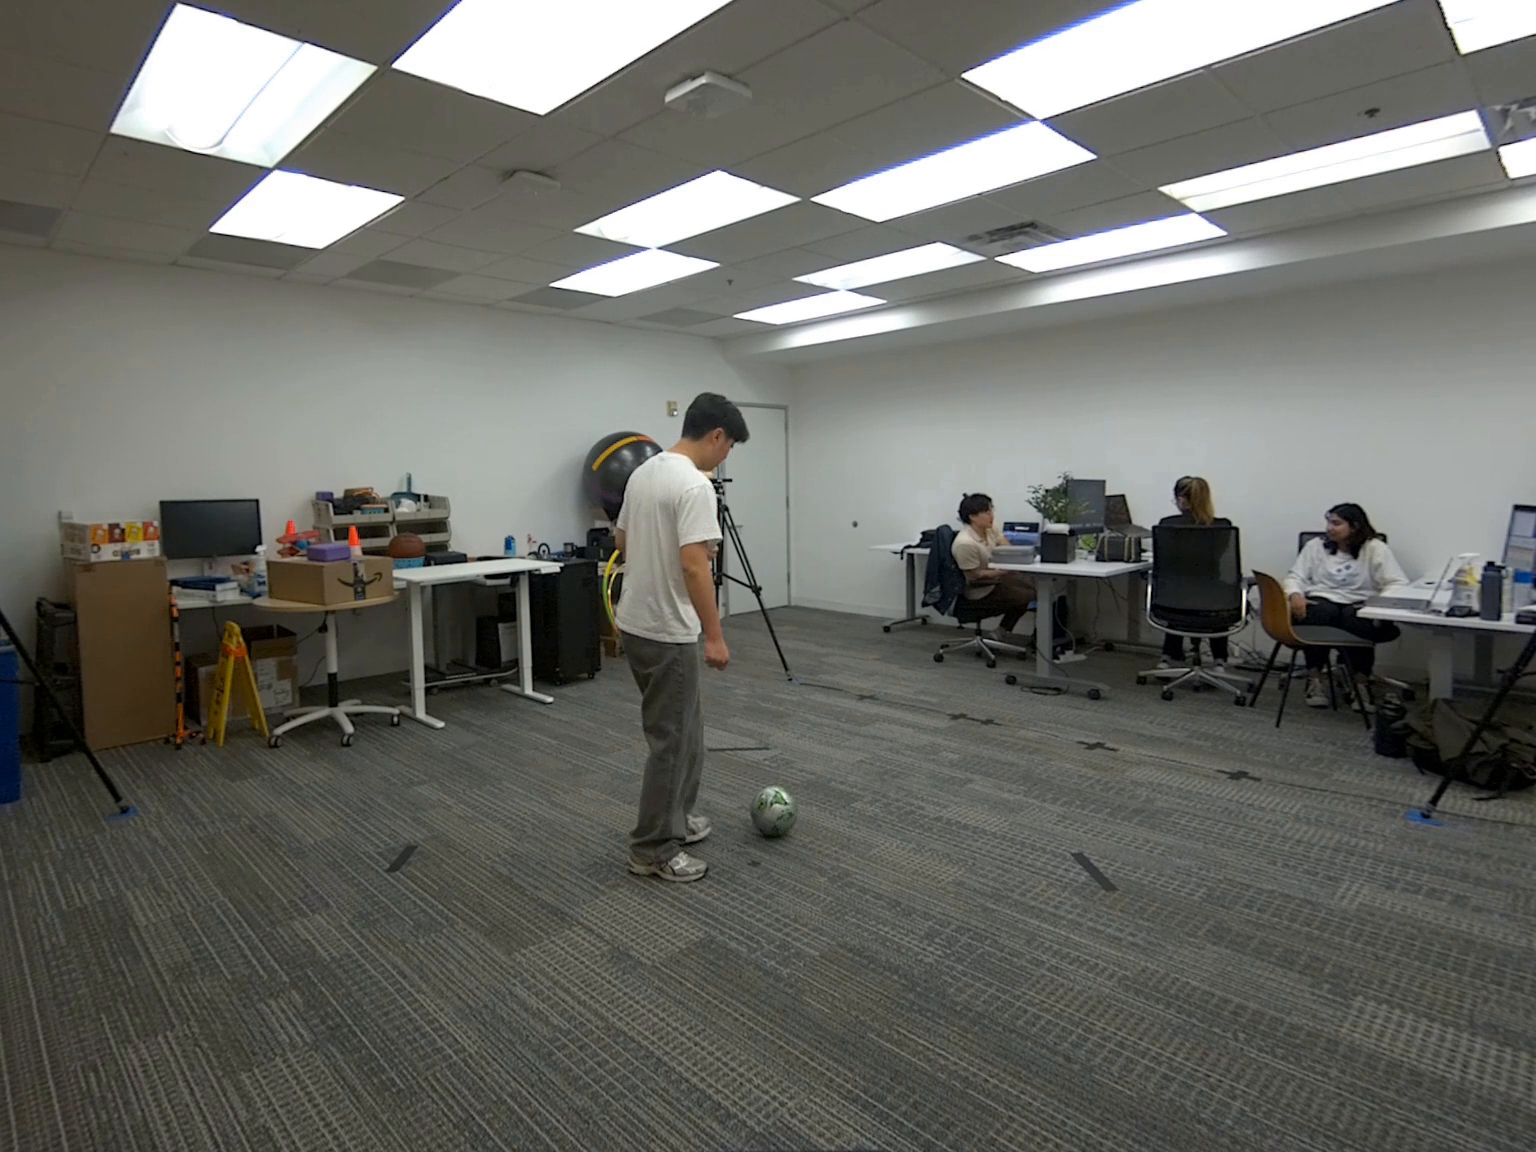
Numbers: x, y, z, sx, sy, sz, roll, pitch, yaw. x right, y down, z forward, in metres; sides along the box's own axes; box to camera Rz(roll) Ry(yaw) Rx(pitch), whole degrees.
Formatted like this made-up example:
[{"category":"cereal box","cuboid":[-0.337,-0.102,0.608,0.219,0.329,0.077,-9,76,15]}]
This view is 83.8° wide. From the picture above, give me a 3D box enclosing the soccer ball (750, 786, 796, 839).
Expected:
[{"category":"soccer ball","cuboid":[0.025,0.920,3.353,0.187,0.187,0.188,-1,5,-2]}]
